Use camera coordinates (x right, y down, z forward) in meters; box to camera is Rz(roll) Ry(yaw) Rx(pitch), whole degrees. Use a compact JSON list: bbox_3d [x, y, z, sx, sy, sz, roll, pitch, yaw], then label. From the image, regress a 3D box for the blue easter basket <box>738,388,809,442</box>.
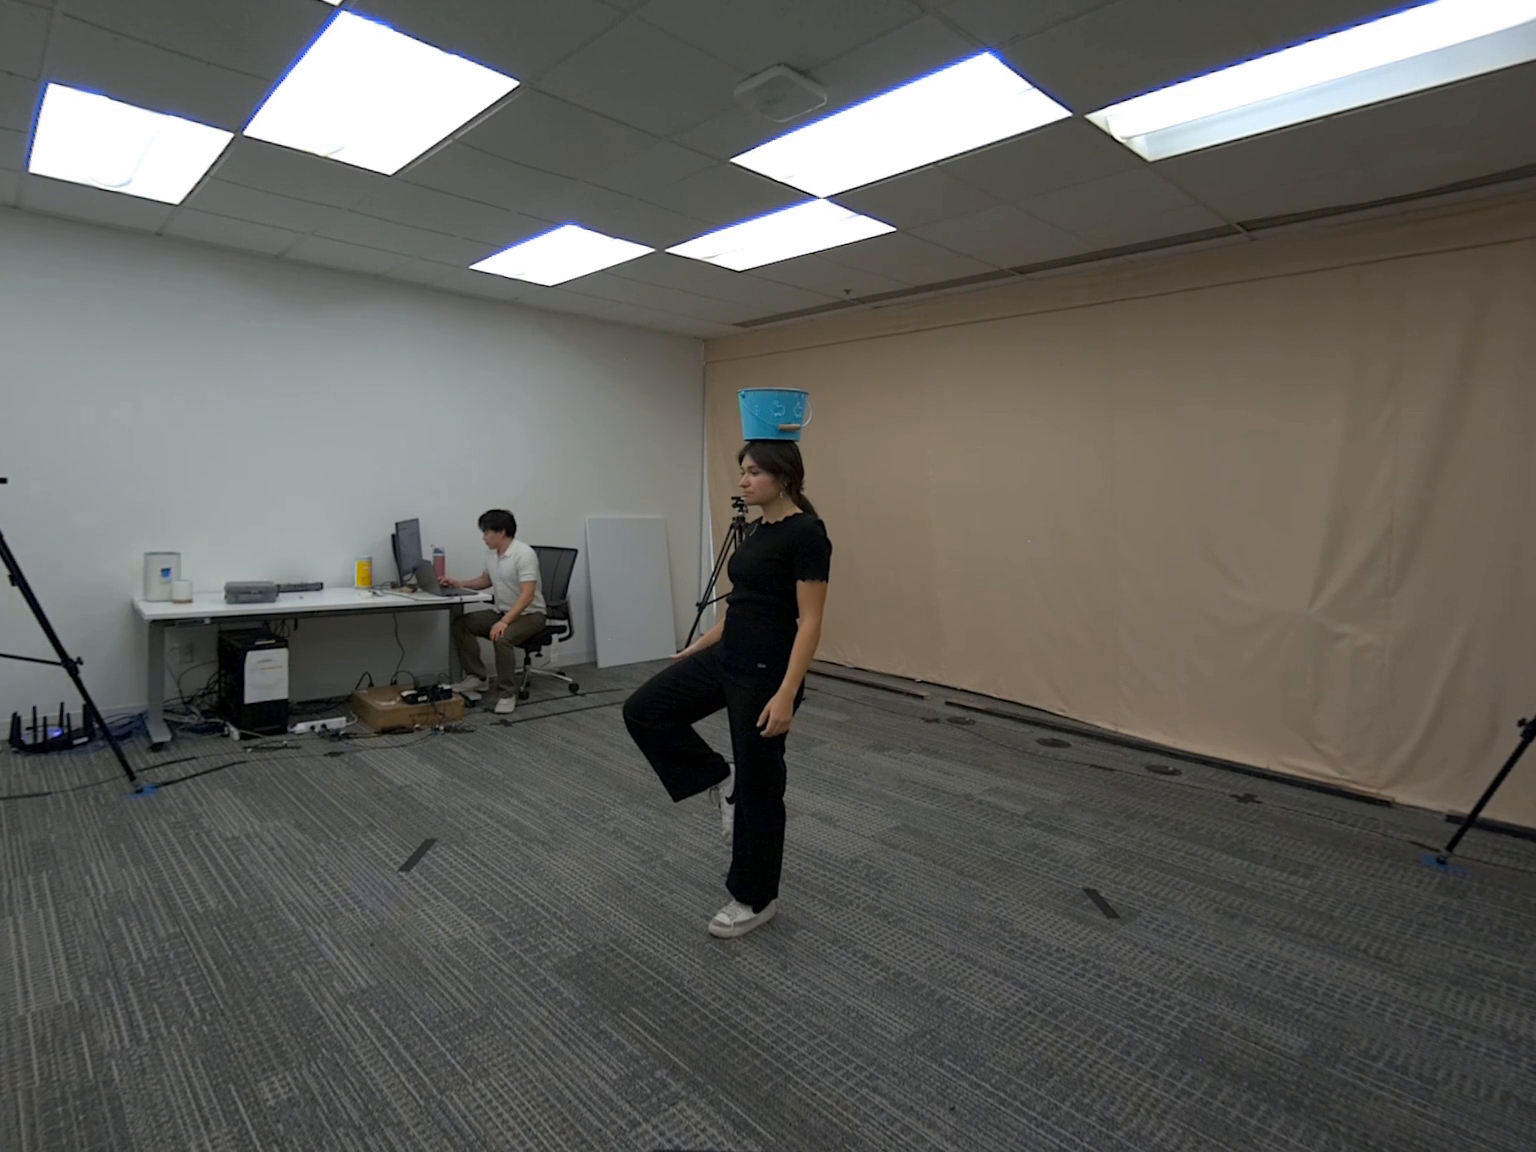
[{"bbox_3d":[0.015,-0.507,2.664,0.243,0.155,0.244,1,5,-1],"label":"blue easter basket"}]
